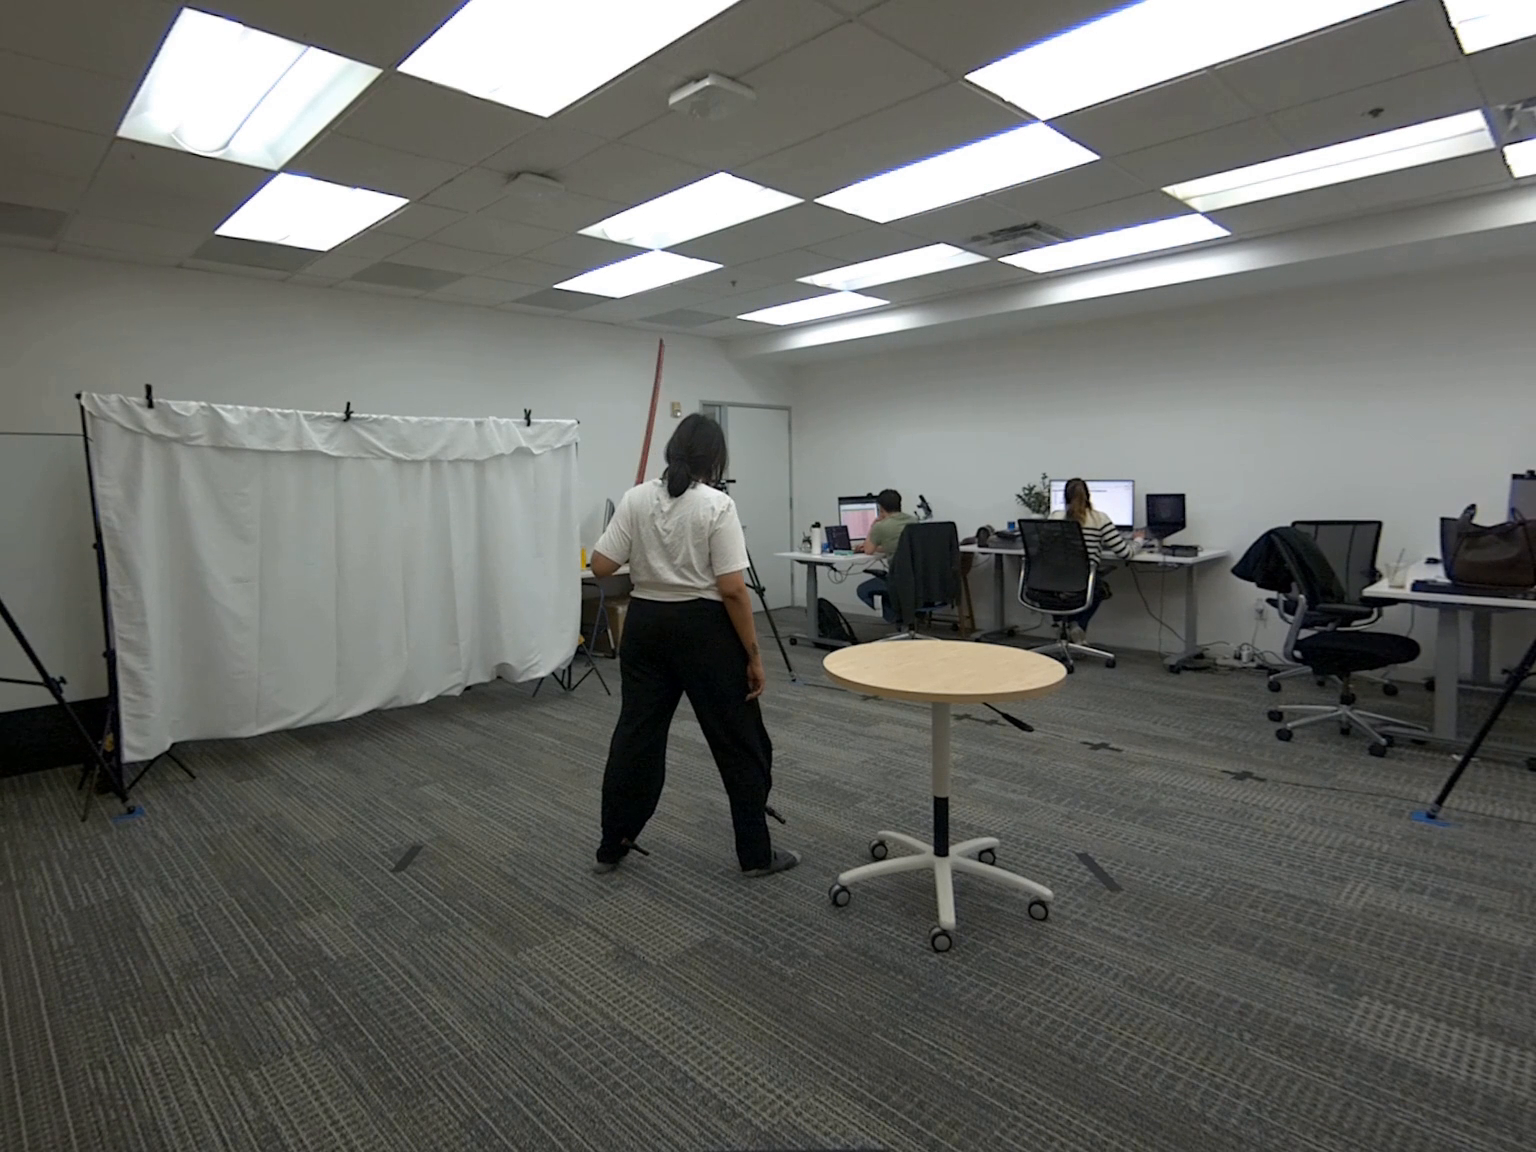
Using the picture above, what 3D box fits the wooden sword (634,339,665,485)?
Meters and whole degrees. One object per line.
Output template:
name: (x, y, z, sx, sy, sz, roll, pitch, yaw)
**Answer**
wooden sword: (-0.502, -0.576, 3.530, 0.050, 1.046, 0.024, 21, -32, -30)
